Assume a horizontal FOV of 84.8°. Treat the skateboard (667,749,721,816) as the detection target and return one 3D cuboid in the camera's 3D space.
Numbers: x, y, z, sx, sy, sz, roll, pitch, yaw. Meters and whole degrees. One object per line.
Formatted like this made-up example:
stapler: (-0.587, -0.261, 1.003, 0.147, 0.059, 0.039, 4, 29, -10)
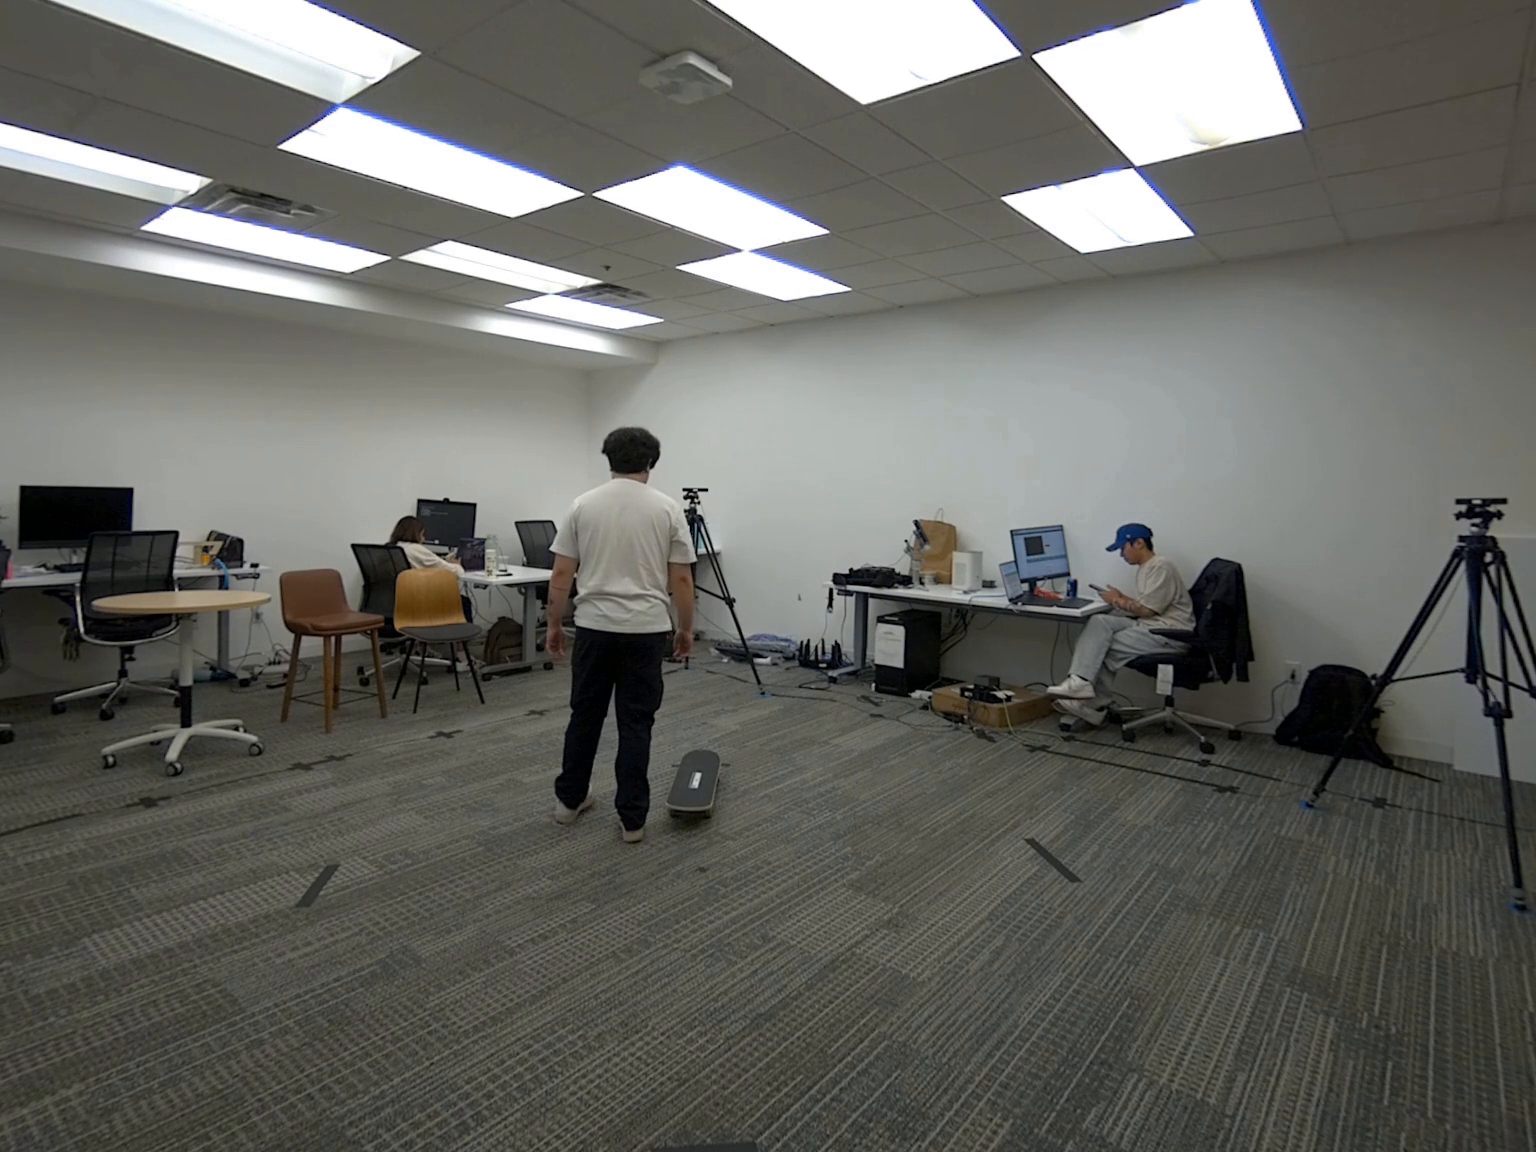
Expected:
skateboard: (-0.341, 0.940, 3.801, 0.194, 0.110, 0.786, 1, 7, 2)
